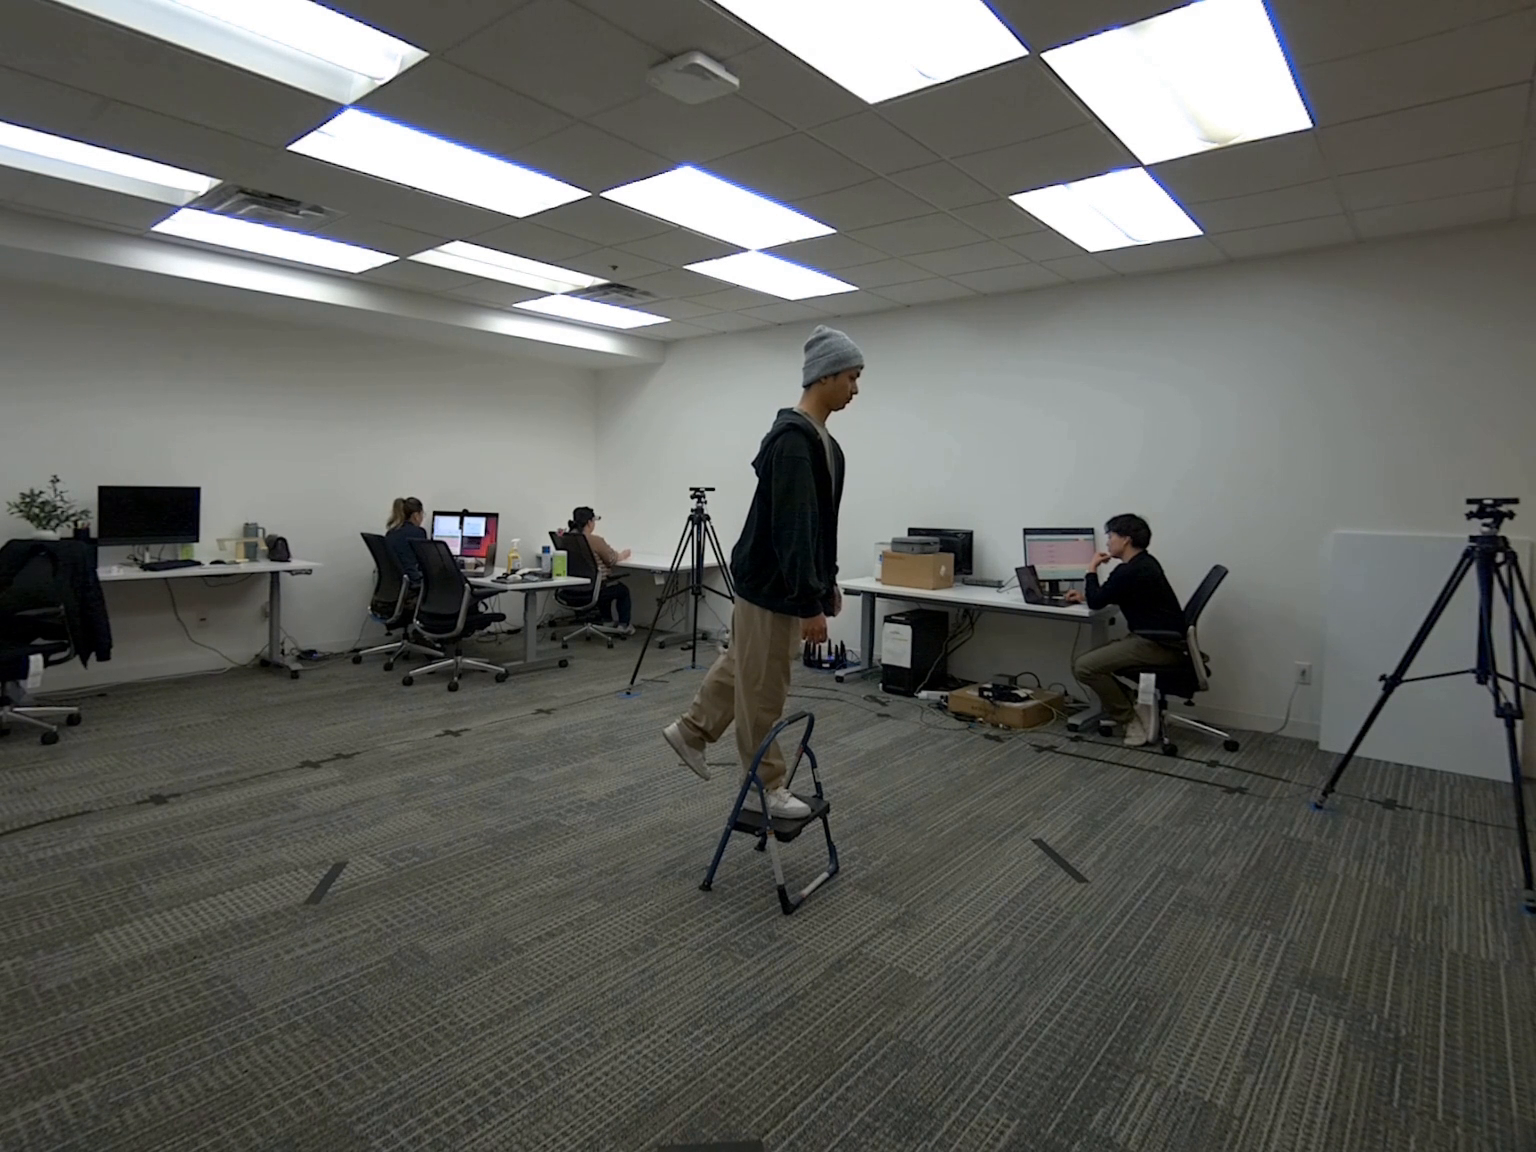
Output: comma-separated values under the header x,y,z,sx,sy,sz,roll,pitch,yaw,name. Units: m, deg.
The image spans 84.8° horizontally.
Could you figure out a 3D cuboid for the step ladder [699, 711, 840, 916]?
x,y,z,sx,sy,sz,roll,pitch,yaw,name
0.016,0.778,3.018,0.359,0.604,0.420,4,4,29,step ladder
